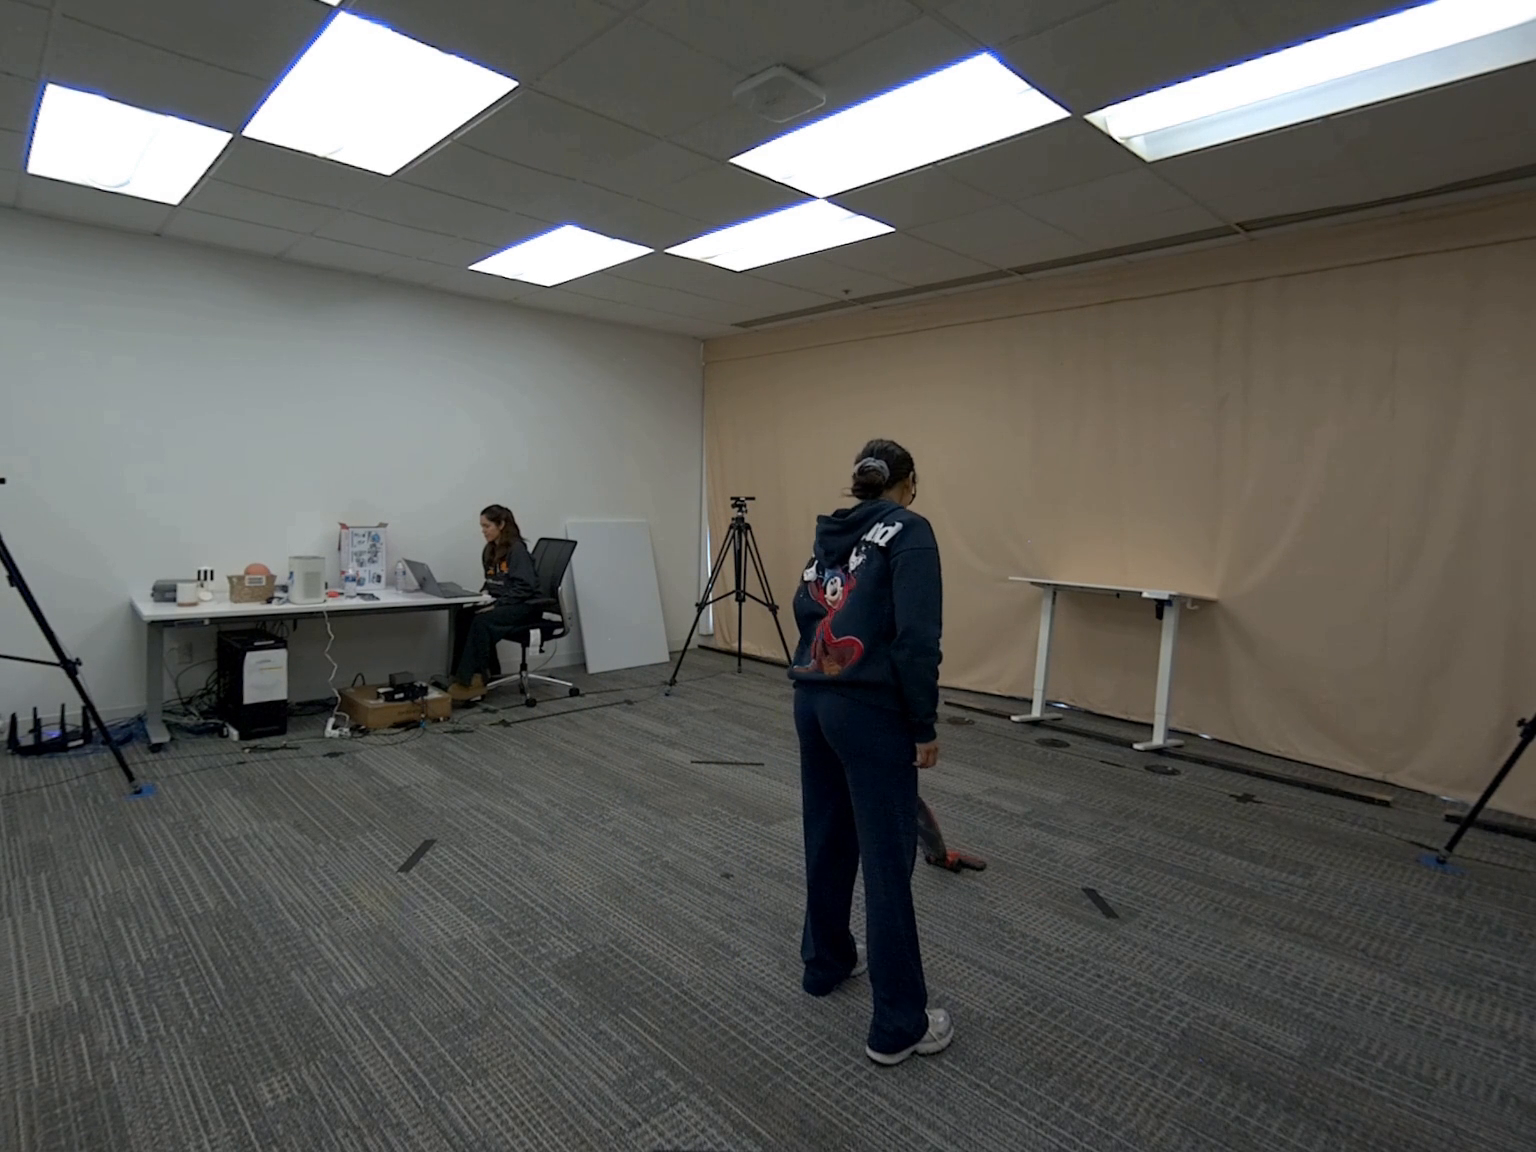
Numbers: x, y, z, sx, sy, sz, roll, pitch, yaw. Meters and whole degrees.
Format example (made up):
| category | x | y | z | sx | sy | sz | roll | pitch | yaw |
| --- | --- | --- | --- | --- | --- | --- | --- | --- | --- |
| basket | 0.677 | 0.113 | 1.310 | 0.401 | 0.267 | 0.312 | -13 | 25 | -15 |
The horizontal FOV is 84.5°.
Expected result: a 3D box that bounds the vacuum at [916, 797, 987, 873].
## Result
| category | x | y | z | sx | sy | sz | roll | pitch | yaw |
| --- | --- | --- | --- | --- | --- | --- | --- | --- | --- |
| vacuum | 0.471 | 0.788 | 2.951 | 0.259 | 0.145 | 1.017 | 5 | -36 | 35 |
